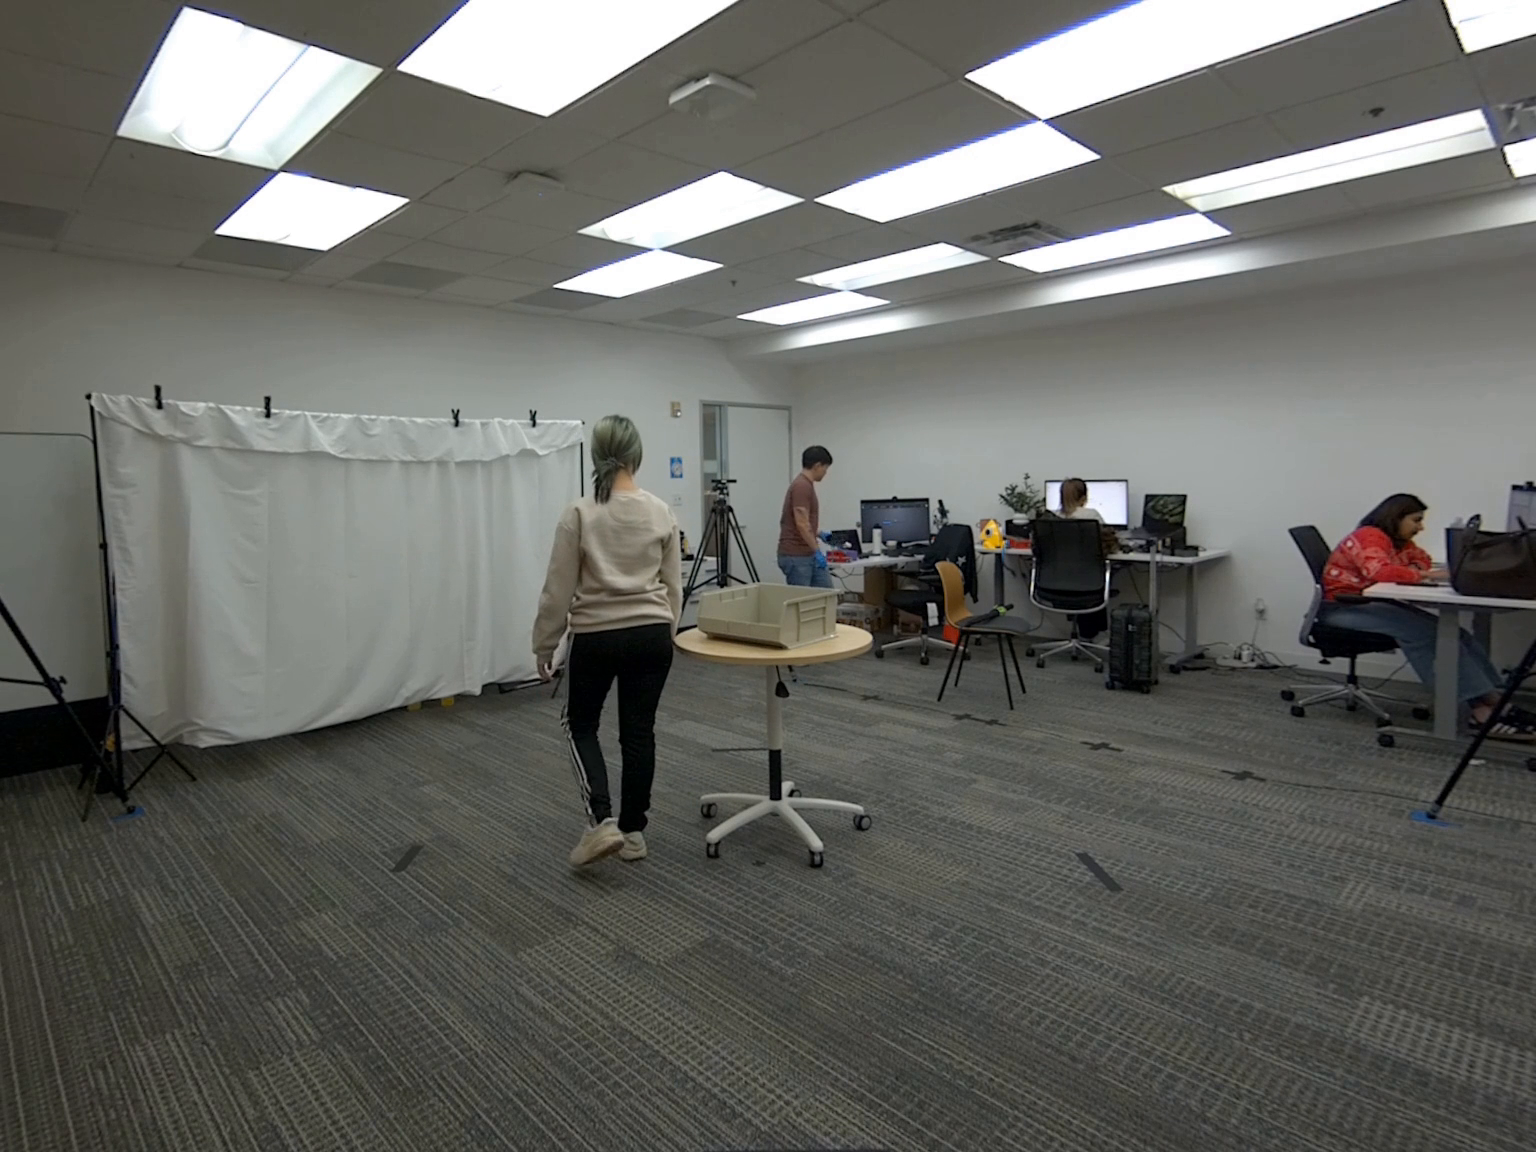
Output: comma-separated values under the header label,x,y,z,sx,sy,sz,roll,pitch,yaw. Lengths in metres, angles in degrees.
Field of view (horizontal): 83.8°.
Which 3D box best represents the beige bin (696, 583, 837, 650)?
label,x,y,z,sx,sy,sz,roll,pitch,yaw
beige bin,0.003,0.149,3.300,0.435,0.188,0.367,3,6,41
